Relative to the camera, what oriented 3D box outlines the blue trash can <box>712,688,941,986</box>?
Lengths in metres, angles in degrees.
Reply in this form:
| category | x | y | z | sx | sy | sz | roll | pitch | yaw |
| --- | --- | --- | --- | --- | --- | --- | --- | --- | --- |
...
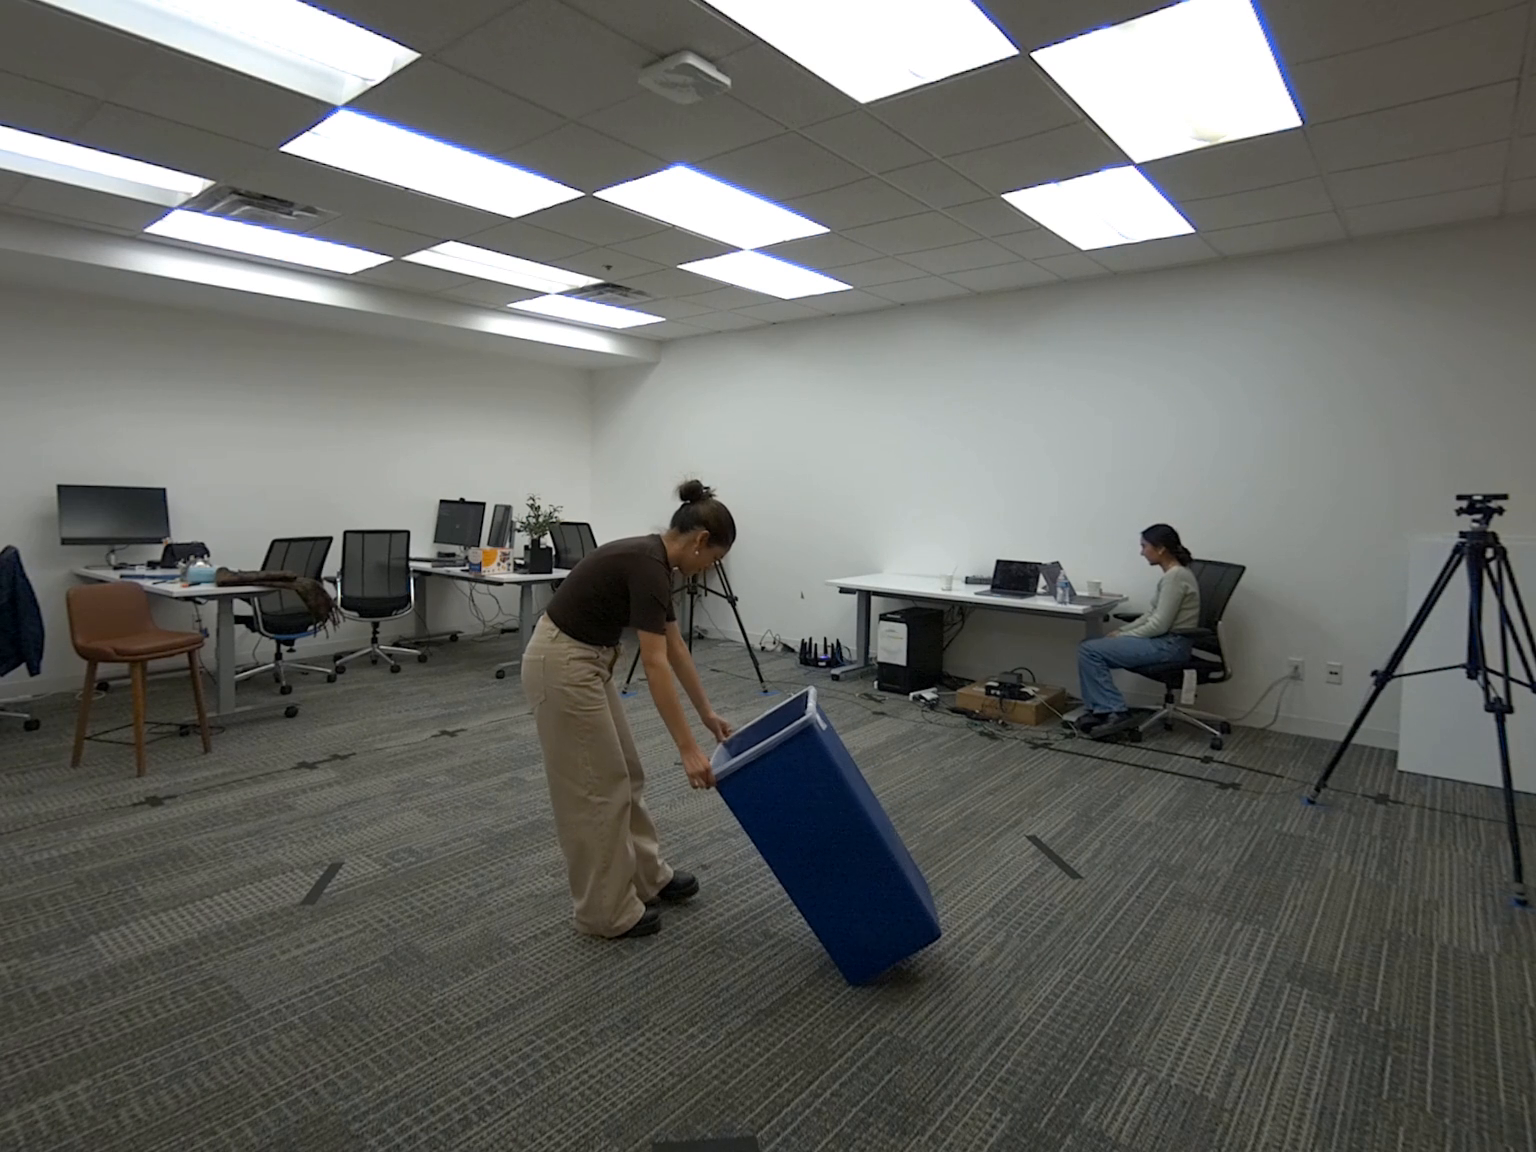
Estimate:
| category | x | y | z | sx | sy | sz | roll | pitch | yaw |
| --- | --- | --- | --- | --- | --- | --- | --- | --- | --- |
| blue trash can | 0.157 | 0.759 | 2.505 | 0.375 | 0.715 | 0.376 | -32 | -1 | 6 |
